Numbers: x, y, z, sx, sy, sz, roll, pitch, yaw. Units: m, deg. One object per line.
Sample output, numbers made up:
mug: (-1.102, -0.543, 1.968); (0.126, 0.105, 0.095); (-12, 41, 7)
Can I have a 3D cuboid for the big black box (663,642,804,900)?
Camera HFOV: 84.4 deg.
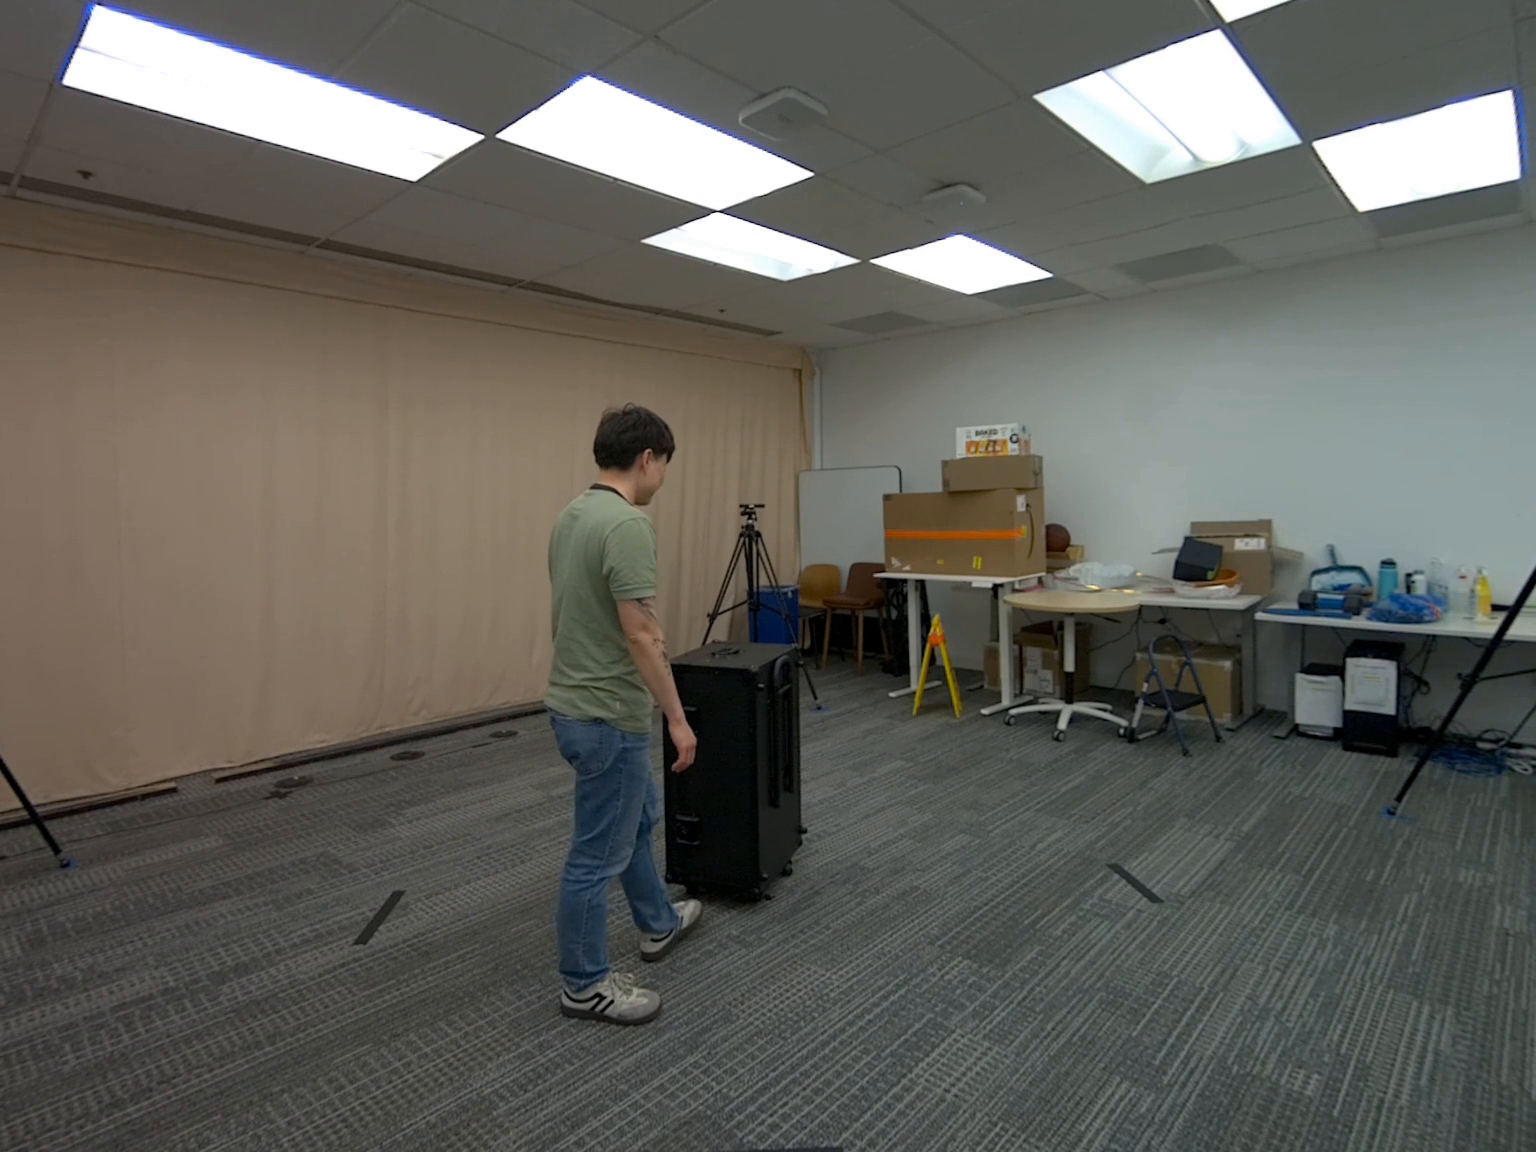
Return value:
big black box: (-0.101, 0.704, 3.095); (0.405, 0.859, 0.510); (2, 4, 21)
